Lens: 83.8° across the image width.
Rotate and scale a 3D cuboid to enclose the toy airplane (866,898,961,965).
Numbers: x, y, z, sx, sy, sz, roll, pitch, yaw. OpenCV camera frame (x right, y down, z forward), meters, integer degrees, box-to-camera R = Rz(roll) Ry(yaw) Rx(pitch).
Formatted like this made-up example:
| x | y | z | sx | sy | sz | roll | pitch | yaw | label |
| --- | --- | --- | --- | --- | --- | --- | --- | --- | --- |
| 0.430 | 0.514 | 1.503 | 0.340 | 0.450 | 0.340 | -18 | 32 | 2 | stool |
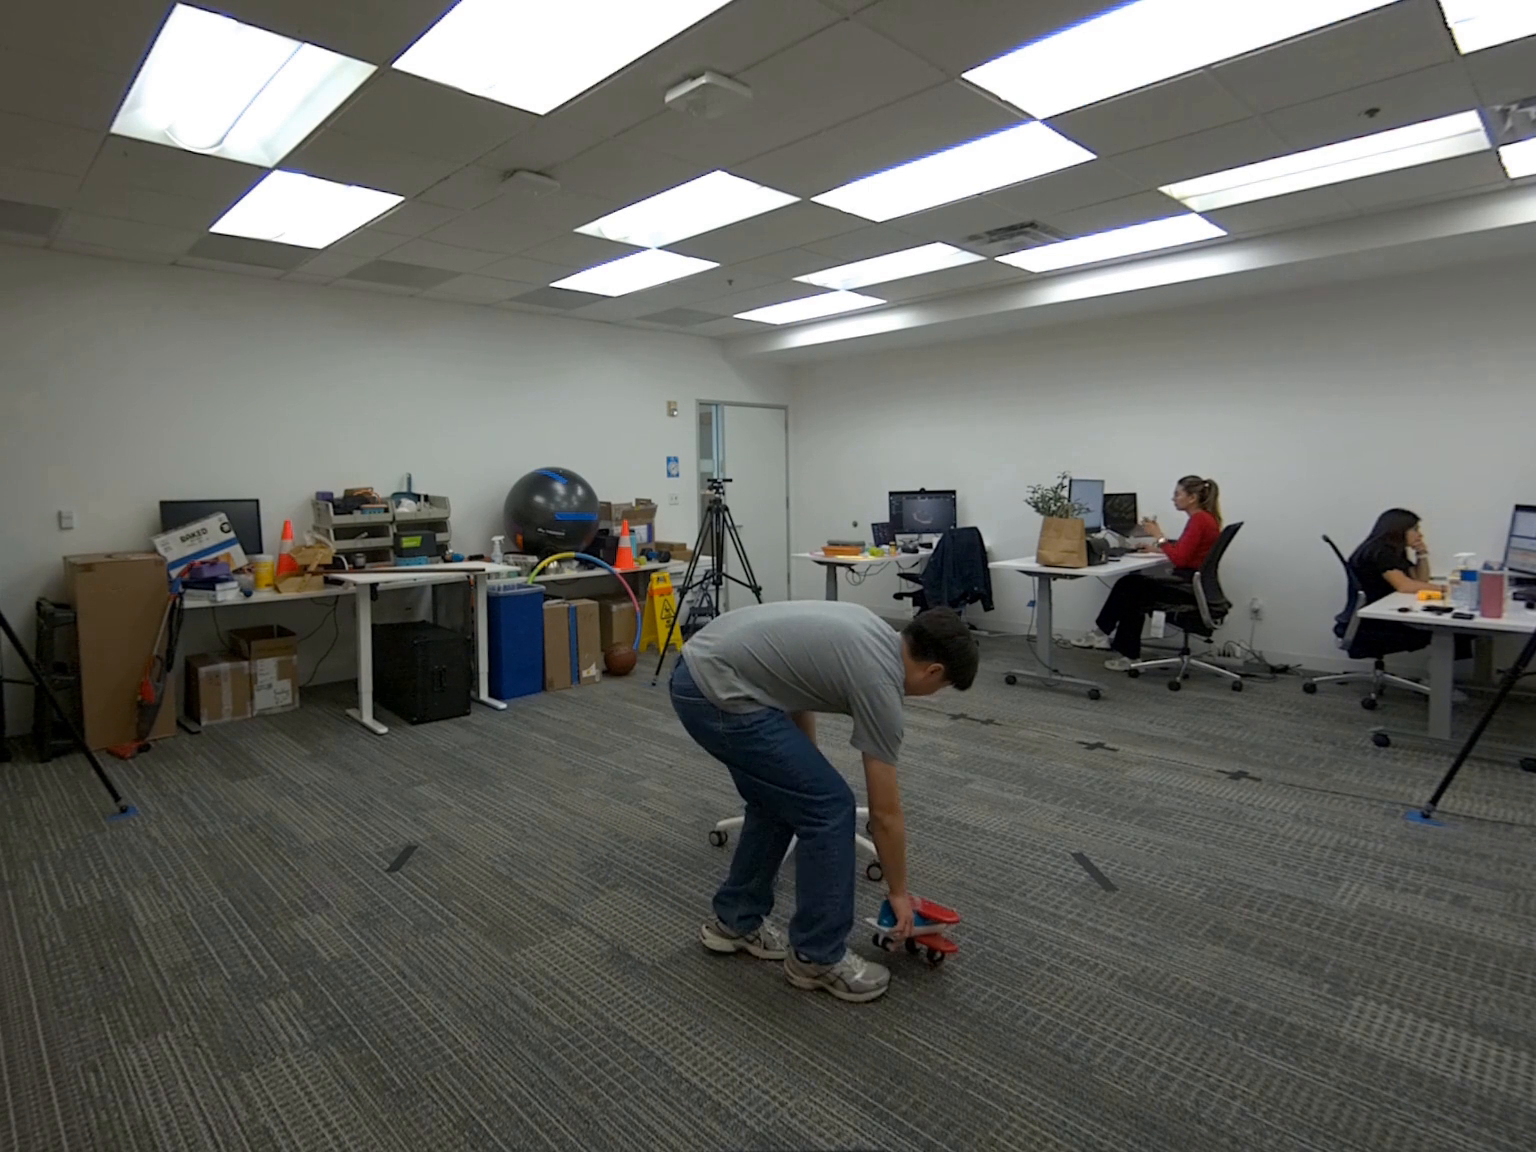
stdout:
| x | y | z | sx | sy | sz | roll | pitch | yaw | label |
| --- | --- | --- | --- | --- | --- | --- | --- | --- | --- |
| 0.421 | 1.005 | 2.430 | 0.258 | 0.157 | 0.250 | 11 | -15 | 27 | toy airplane |
